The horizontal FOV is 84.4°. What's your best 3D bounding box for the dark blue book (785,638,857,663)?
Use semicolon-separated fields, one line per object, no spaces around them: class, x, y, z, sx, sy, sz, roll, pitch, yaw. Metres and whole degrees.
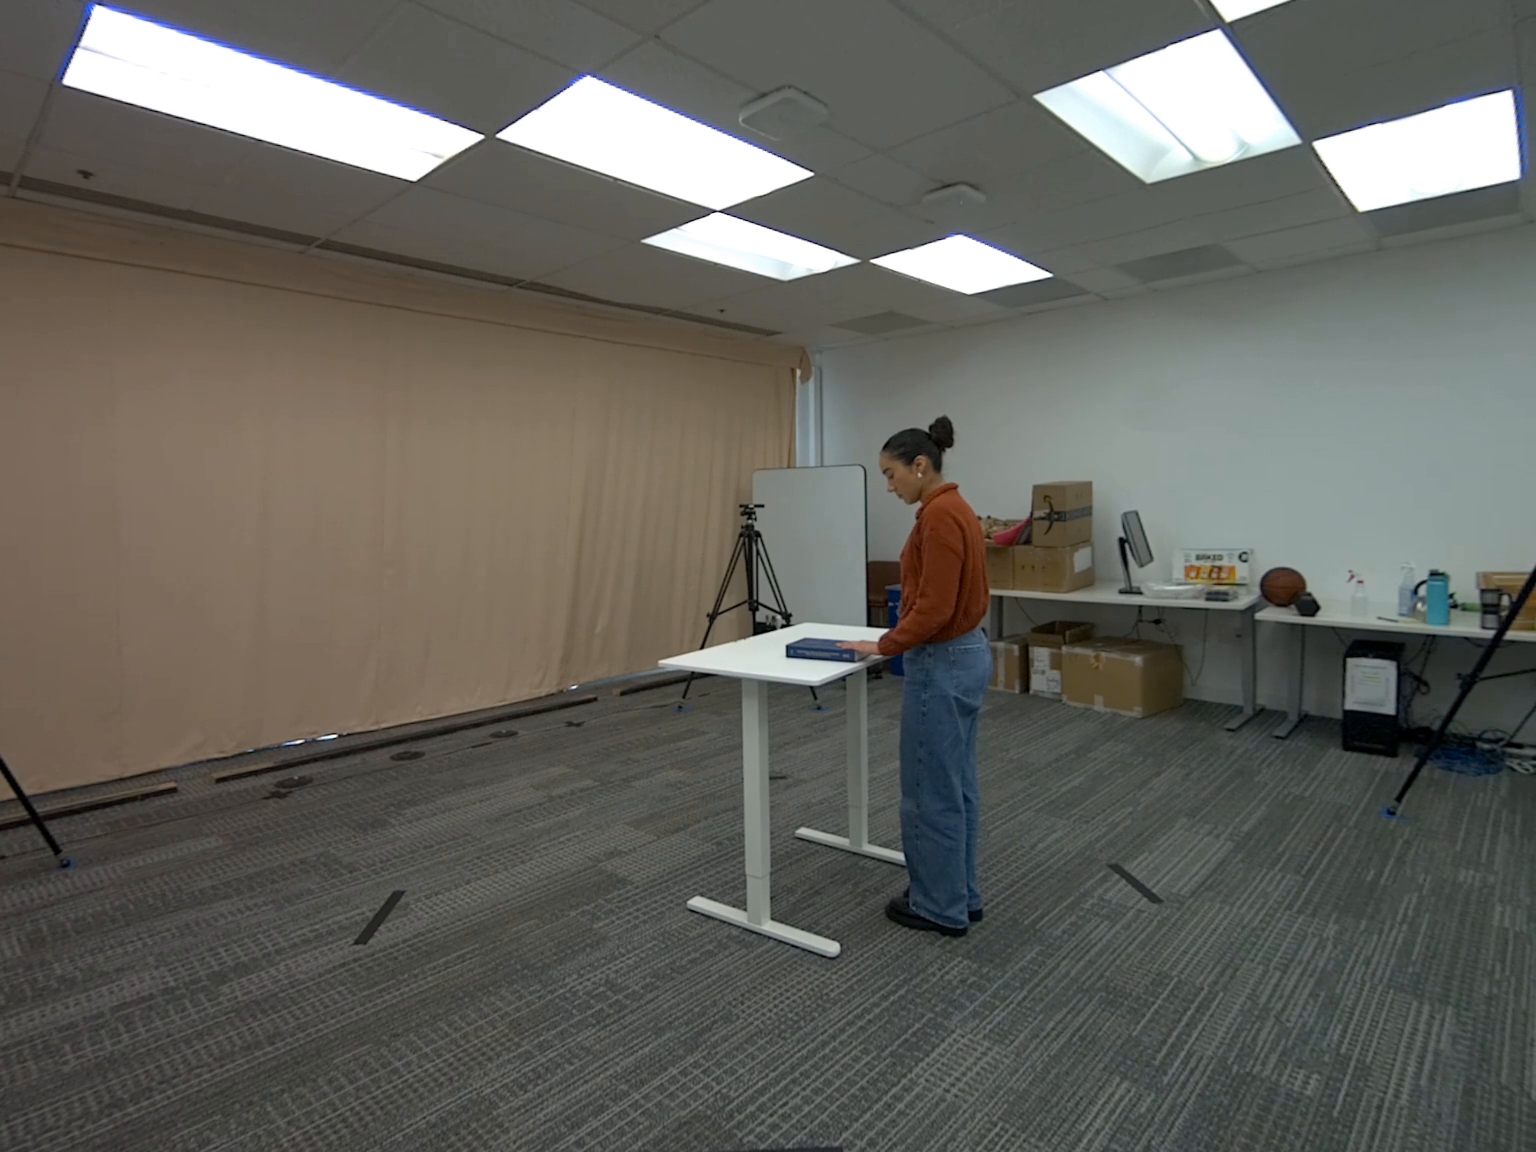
dark blue book;0.210;0.254;2.813;0.251;0.045;0.160;2;6;25
